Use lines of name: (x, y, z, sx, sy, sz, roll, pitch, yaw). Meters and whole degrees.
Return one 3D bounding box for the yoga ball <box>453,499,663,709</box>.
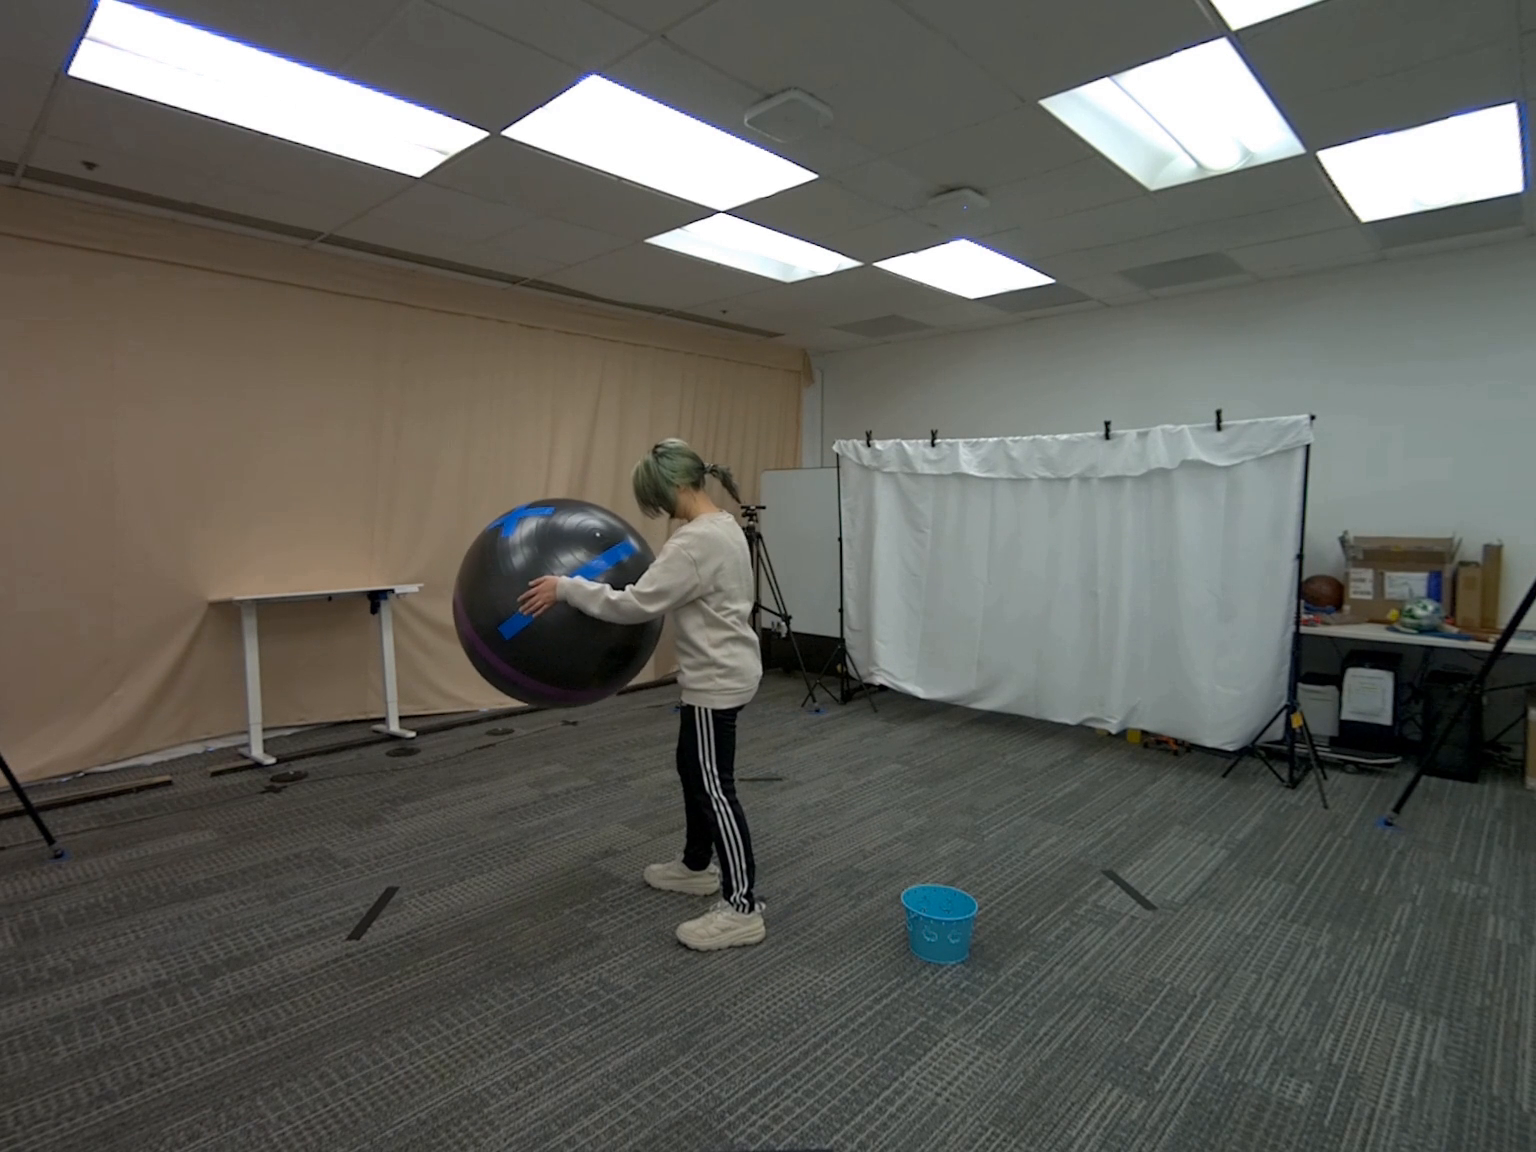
yoga ball: (-0.750, 0.109, 3.058, 0.757, 0.756, 0.760, 0, 4, -2)
